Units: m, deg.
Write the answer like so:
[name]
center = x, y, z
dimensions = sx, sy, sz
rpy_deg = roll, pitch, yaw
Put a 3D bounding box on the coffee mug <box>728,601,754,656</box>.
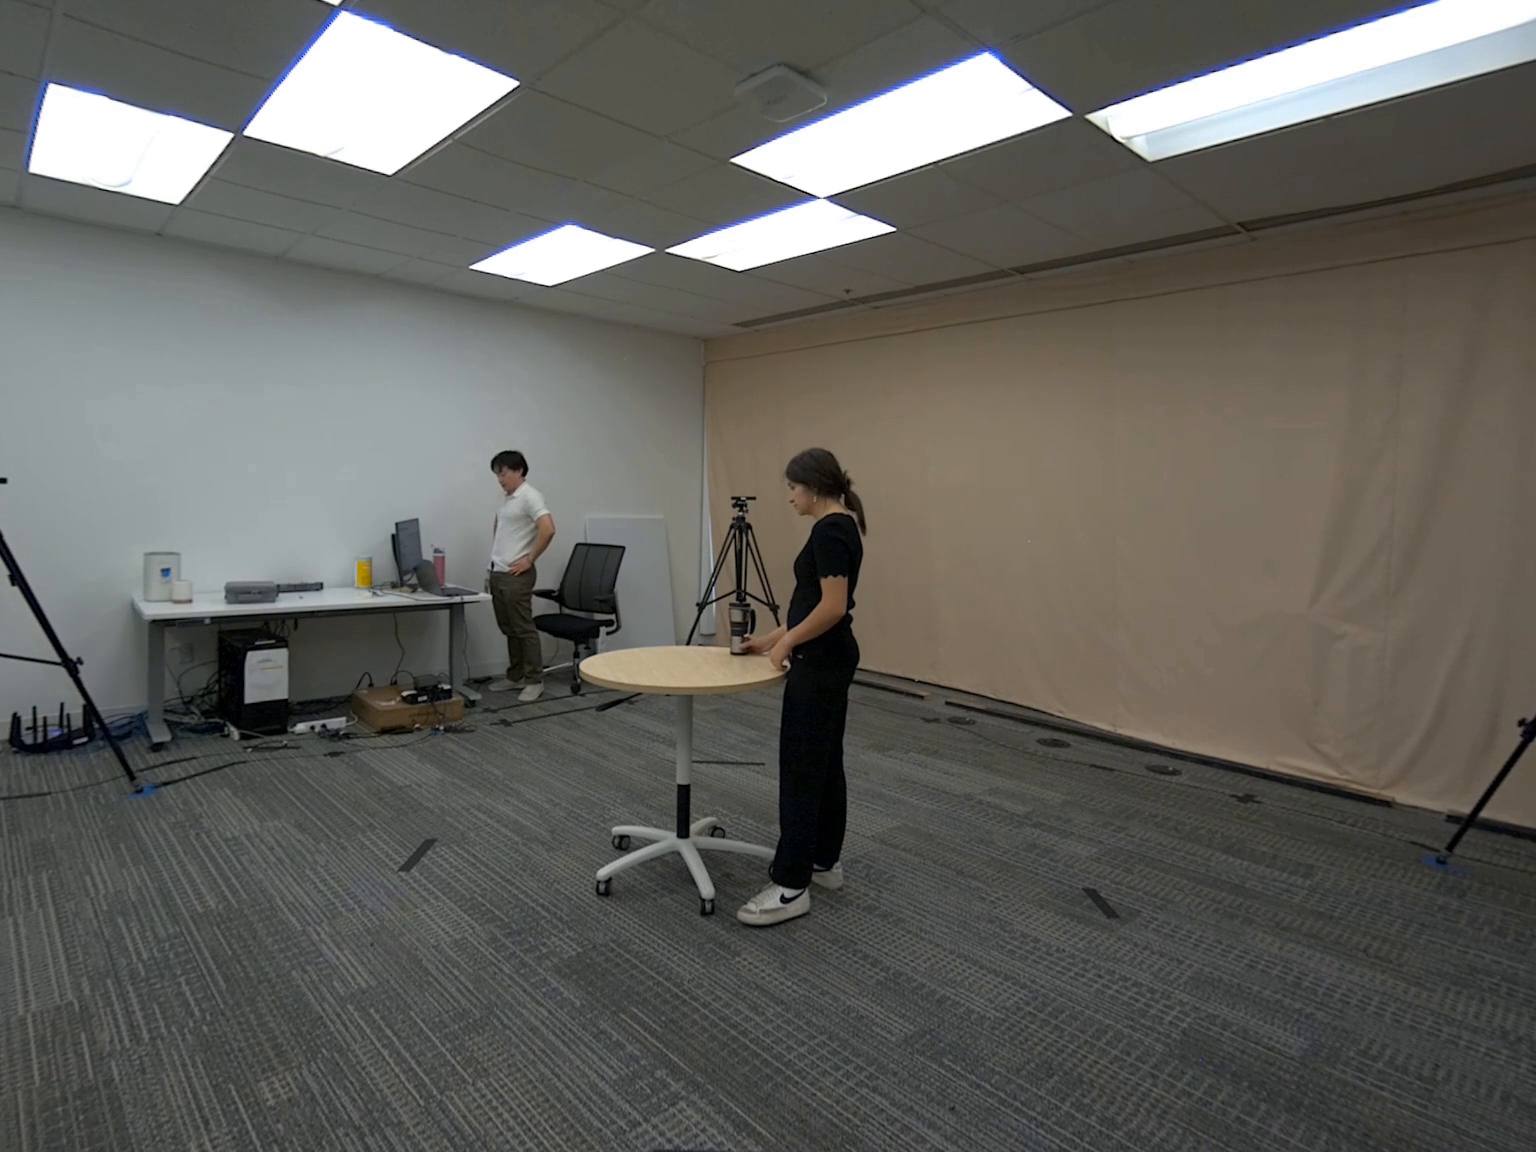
[coffee mug]
center = -0.107, 0.209, 3.258
dimensions = 0.086, 0.203, 0.124
rpy_deg = 3, -2, -26
